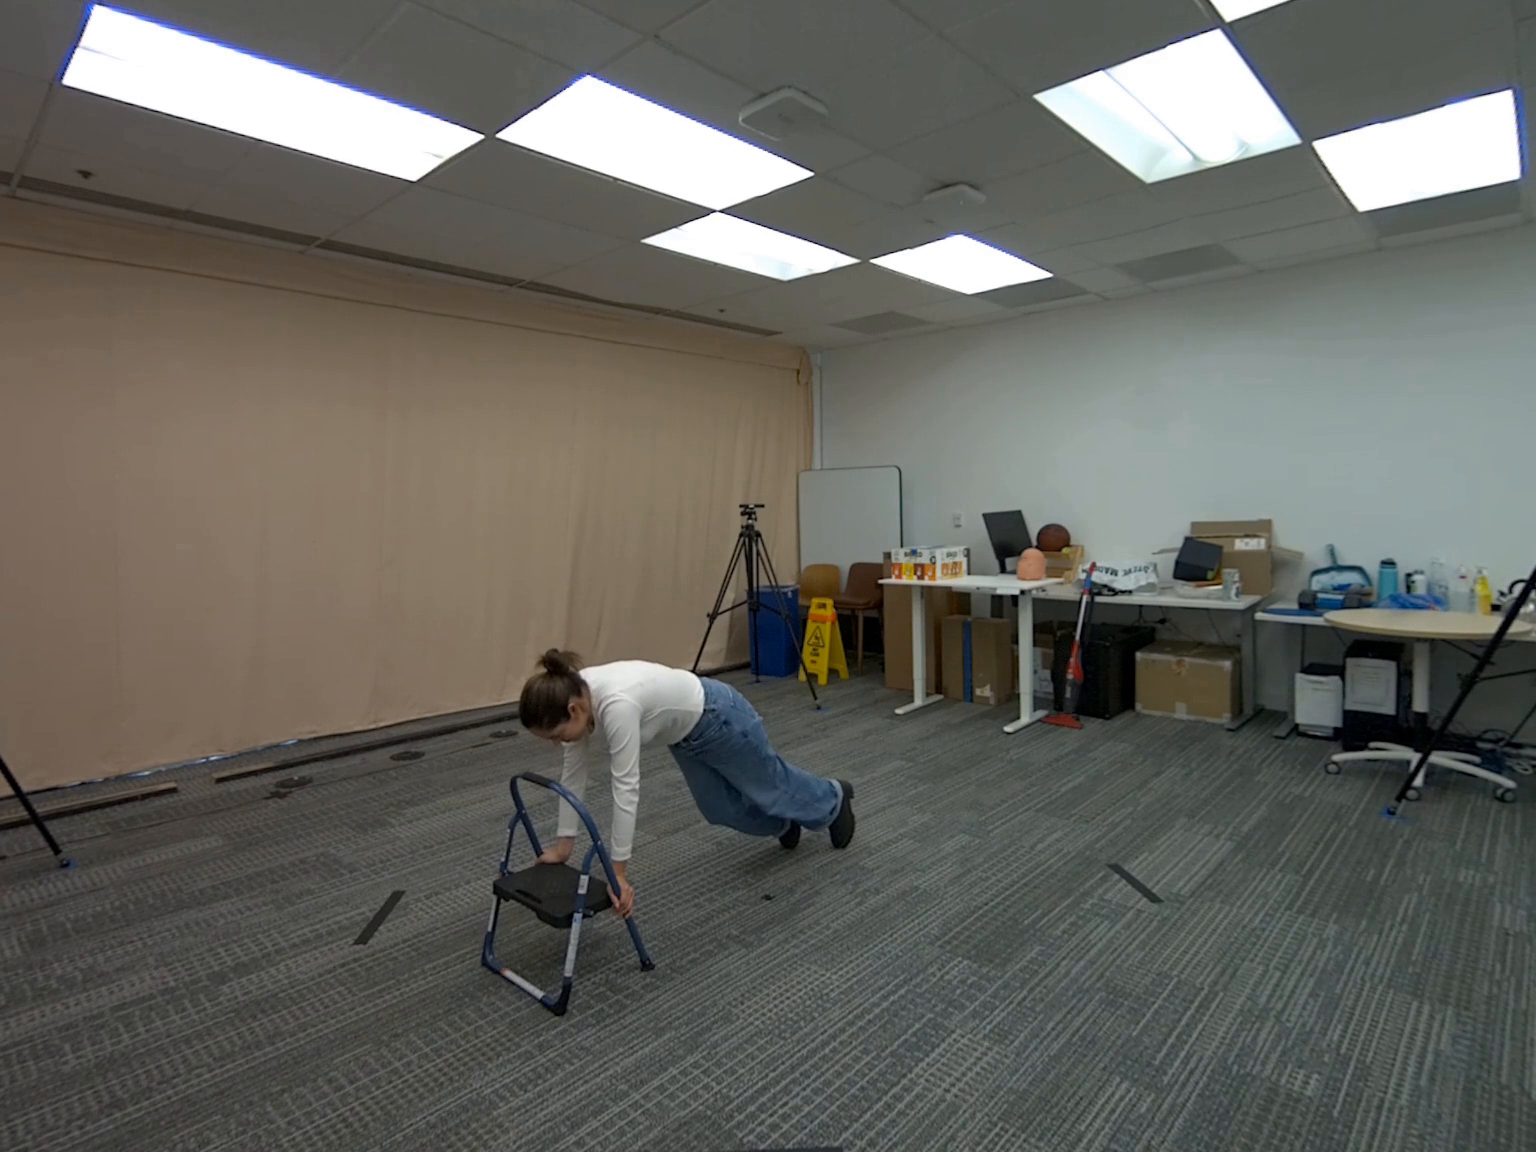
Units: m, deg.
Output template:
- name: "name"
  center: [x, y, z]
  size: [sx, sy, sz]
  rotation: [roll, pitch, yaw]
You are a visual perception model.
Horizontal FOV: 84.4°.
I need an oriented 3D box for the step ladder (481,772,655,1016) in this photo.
- name: "step ladder"
  center: [-0.622, 0.892, 2.548]
  size: [0.445, 0.605, 0.339]
  rotation: [2, 4, 41]
